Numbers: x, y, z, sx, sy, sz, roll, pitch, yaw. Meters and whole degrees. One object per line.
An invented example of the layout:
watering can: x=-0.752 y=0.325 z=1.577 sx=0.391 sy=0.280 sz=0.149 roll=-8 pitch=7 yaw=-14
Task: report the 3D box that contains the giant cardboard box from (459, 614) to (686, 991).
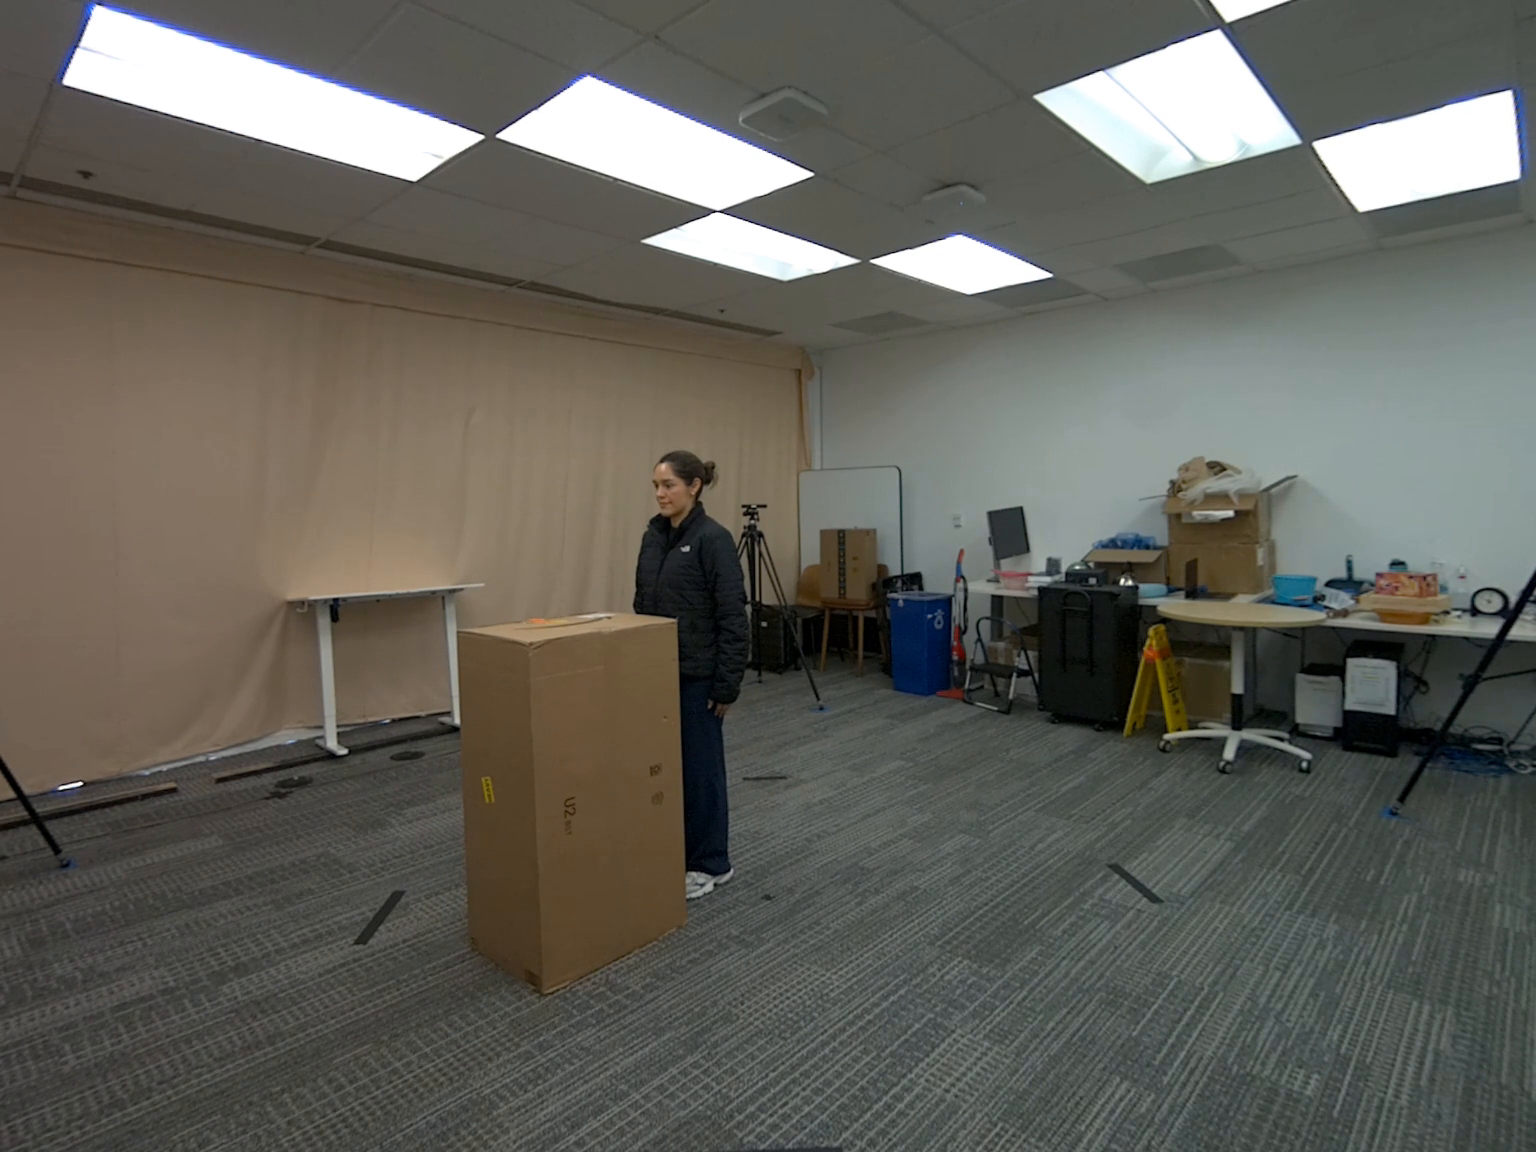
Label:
giant cardboard box: x=-0.620 y=0.666 z=2.728 sx=0.461 sy=1.025 sz=0.566 roll=1 pitch=4 yaw=44
